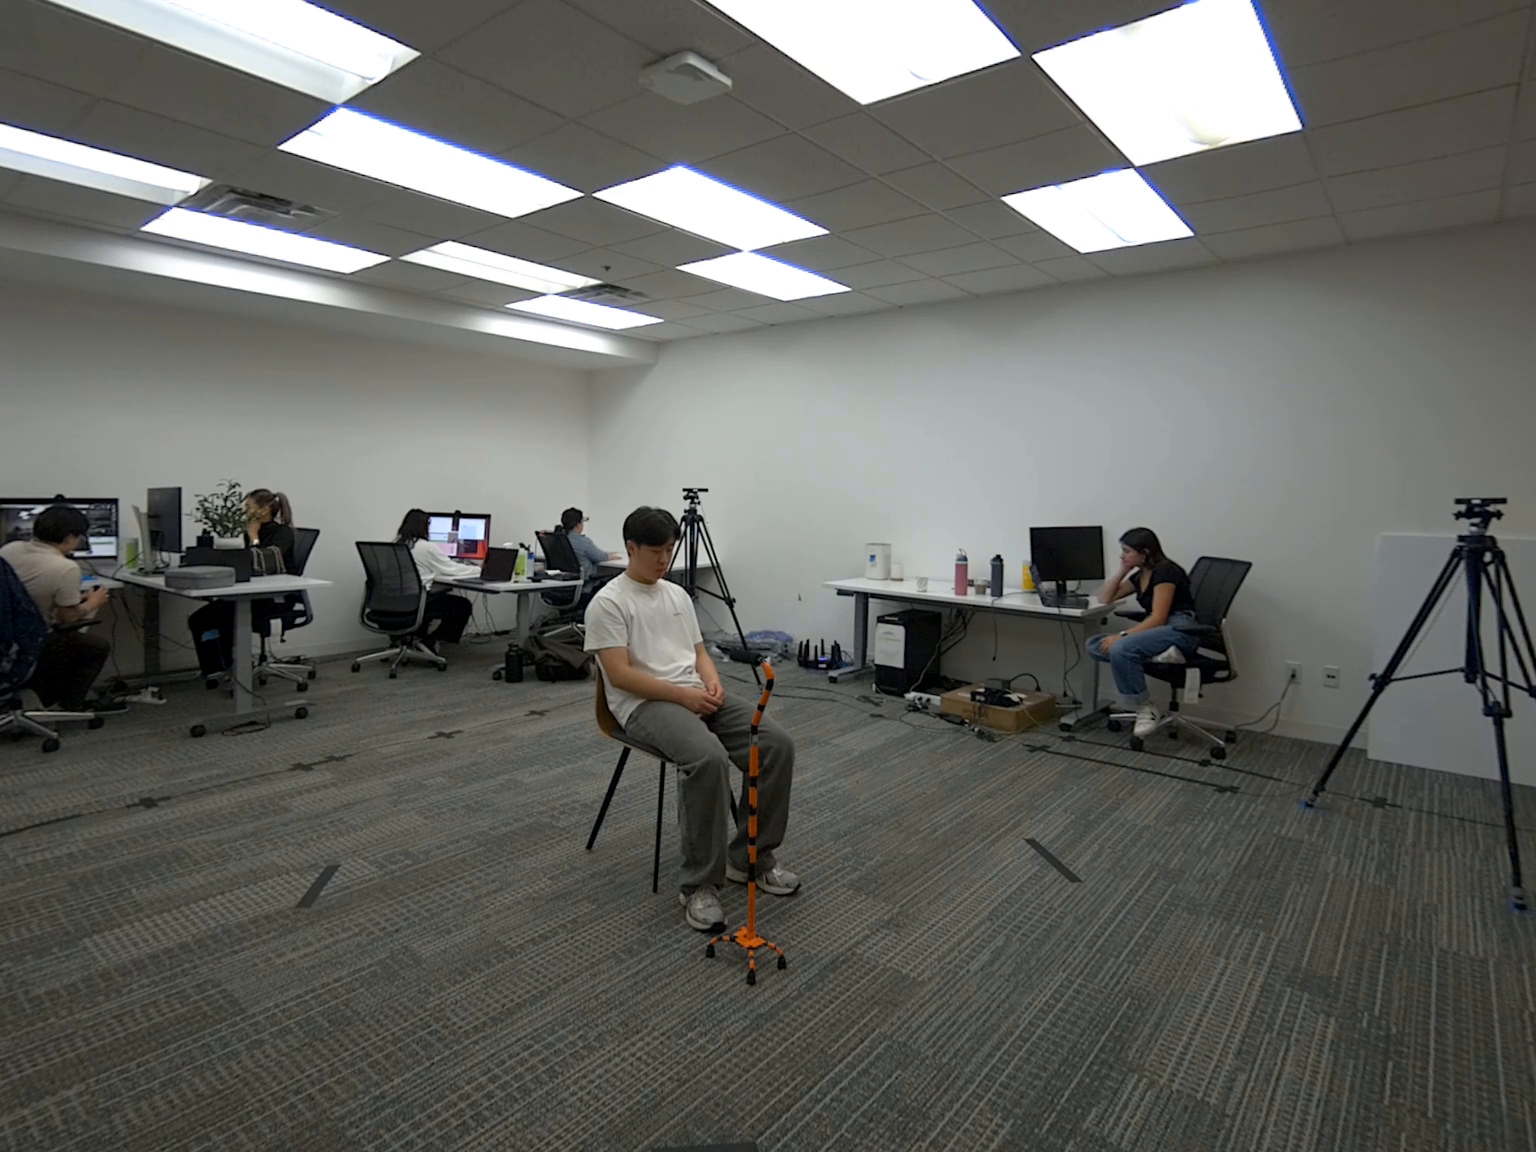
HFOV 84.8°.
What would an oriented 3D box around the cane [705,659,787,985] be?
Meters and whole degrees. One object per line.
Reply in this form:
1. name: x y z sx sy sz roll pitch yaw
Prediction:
1. cane: -0.056 0.673 2.478 0.147 0.905 0.213 -2 5 -44
